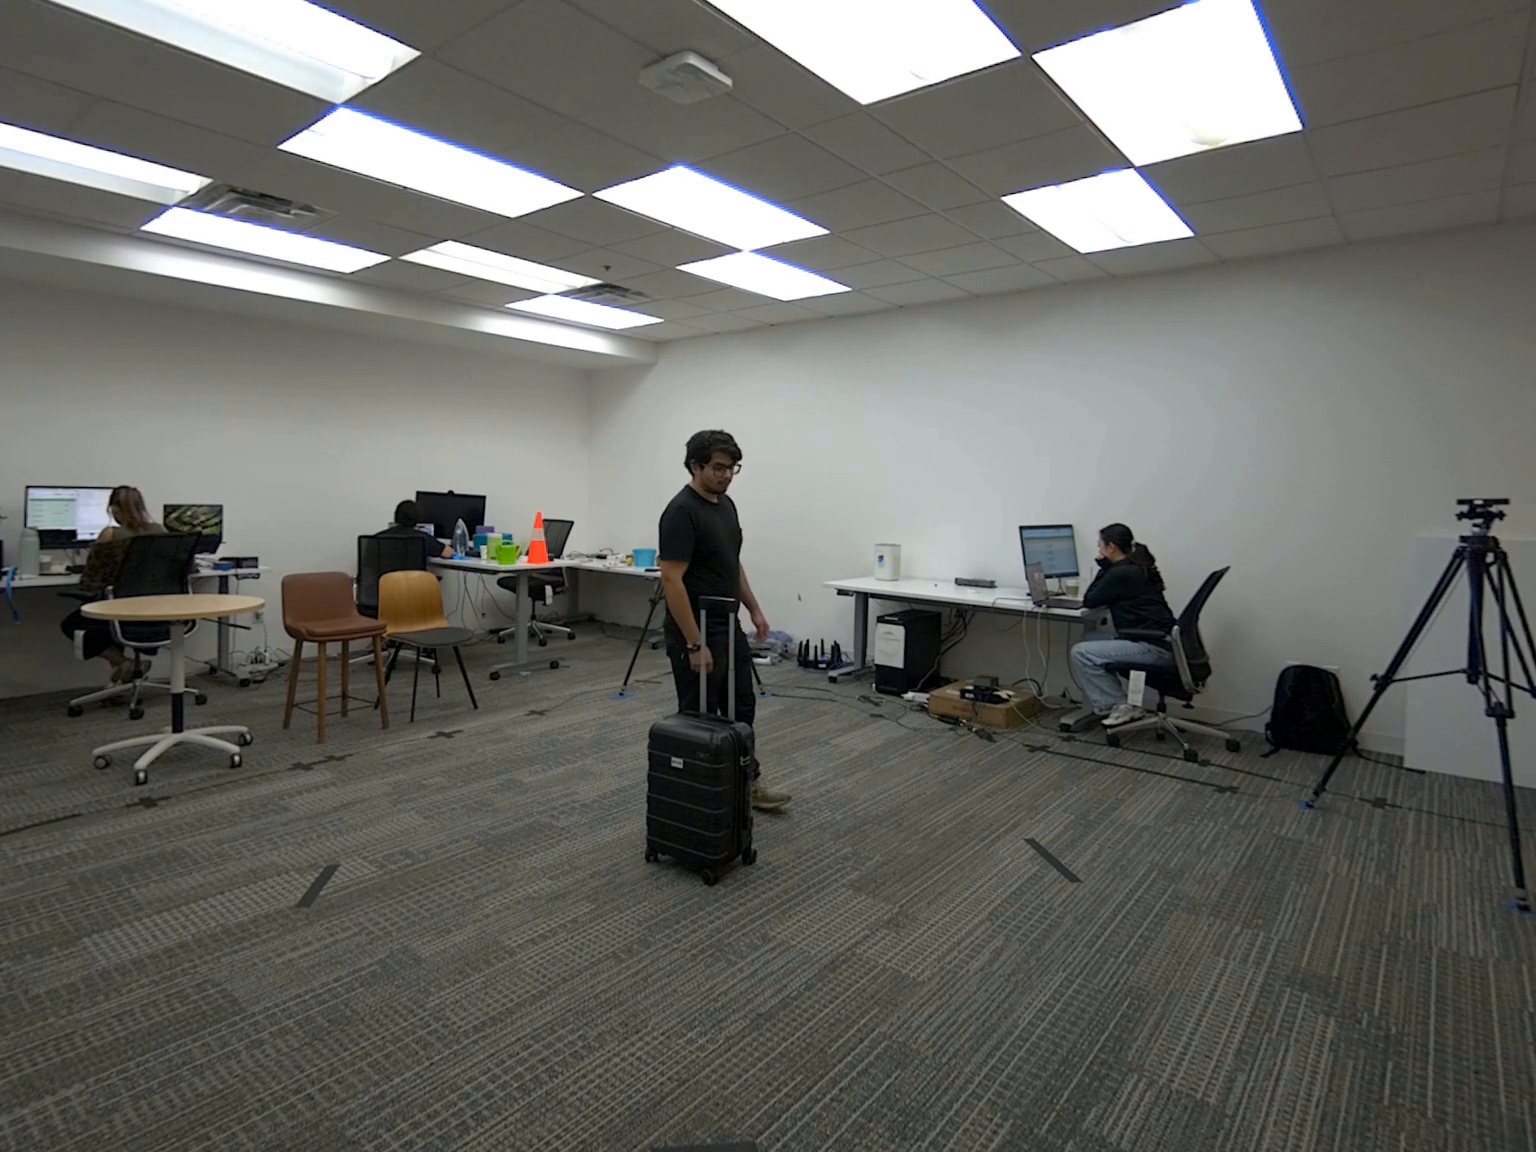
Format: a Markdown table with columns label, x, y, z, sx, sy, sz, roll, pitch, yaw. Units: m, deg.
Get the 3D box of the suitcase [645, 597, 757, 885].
| label | x | y | z | sx | sy | sz | roll | pitch | yaw |
| --- | --- | --- | --- | --- | --- | --- | --- | --- | --- |
| suitcase | -0.261 | 0.588 | 3.126 | 0.396 | 0.974 | 0.250 | 3 | 6 | 35 |
